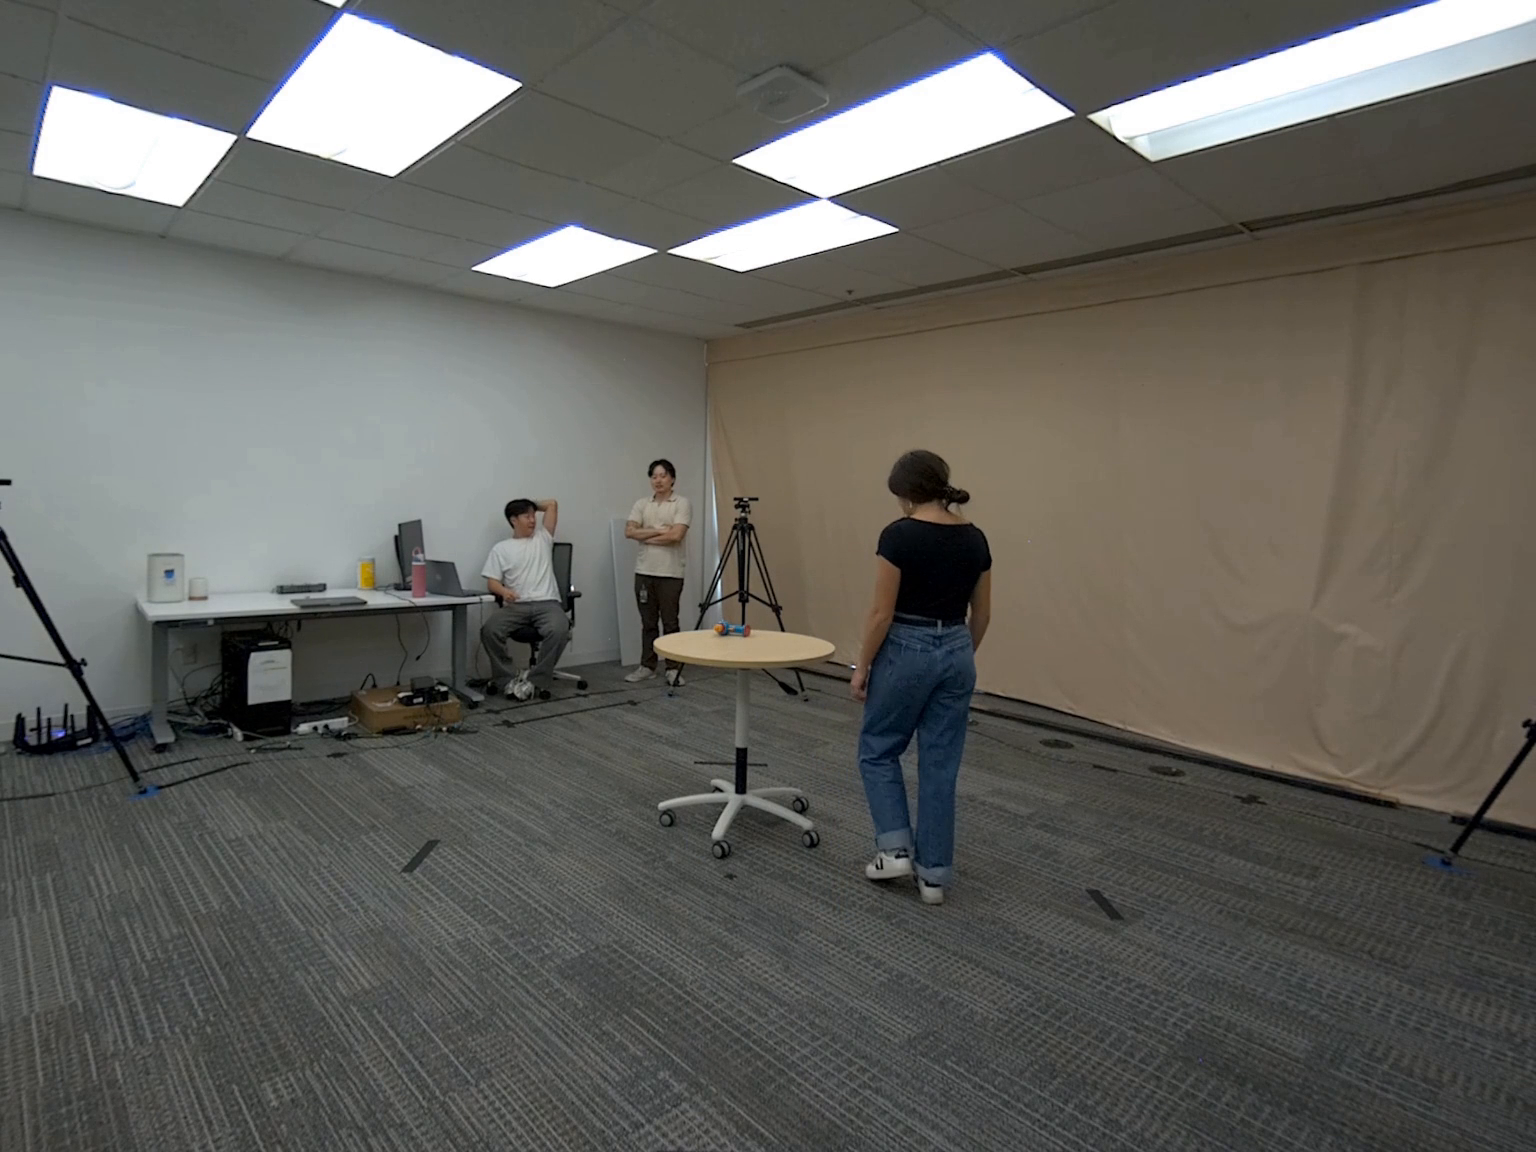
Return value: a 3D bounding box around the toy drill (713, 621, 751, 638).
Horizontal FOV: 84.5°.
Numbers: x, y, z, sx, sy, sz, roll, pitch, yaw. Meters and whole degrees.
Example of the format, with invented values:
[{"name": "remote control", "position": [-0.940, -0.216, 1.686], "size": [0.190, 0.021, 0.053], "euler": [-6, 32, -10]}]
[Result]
[{"name": "toy drill", "position": [-0.184, 0.239, 3.754], "size": [0.148, 0.061, 0.166], "euler": [5, -2, 21]}]
